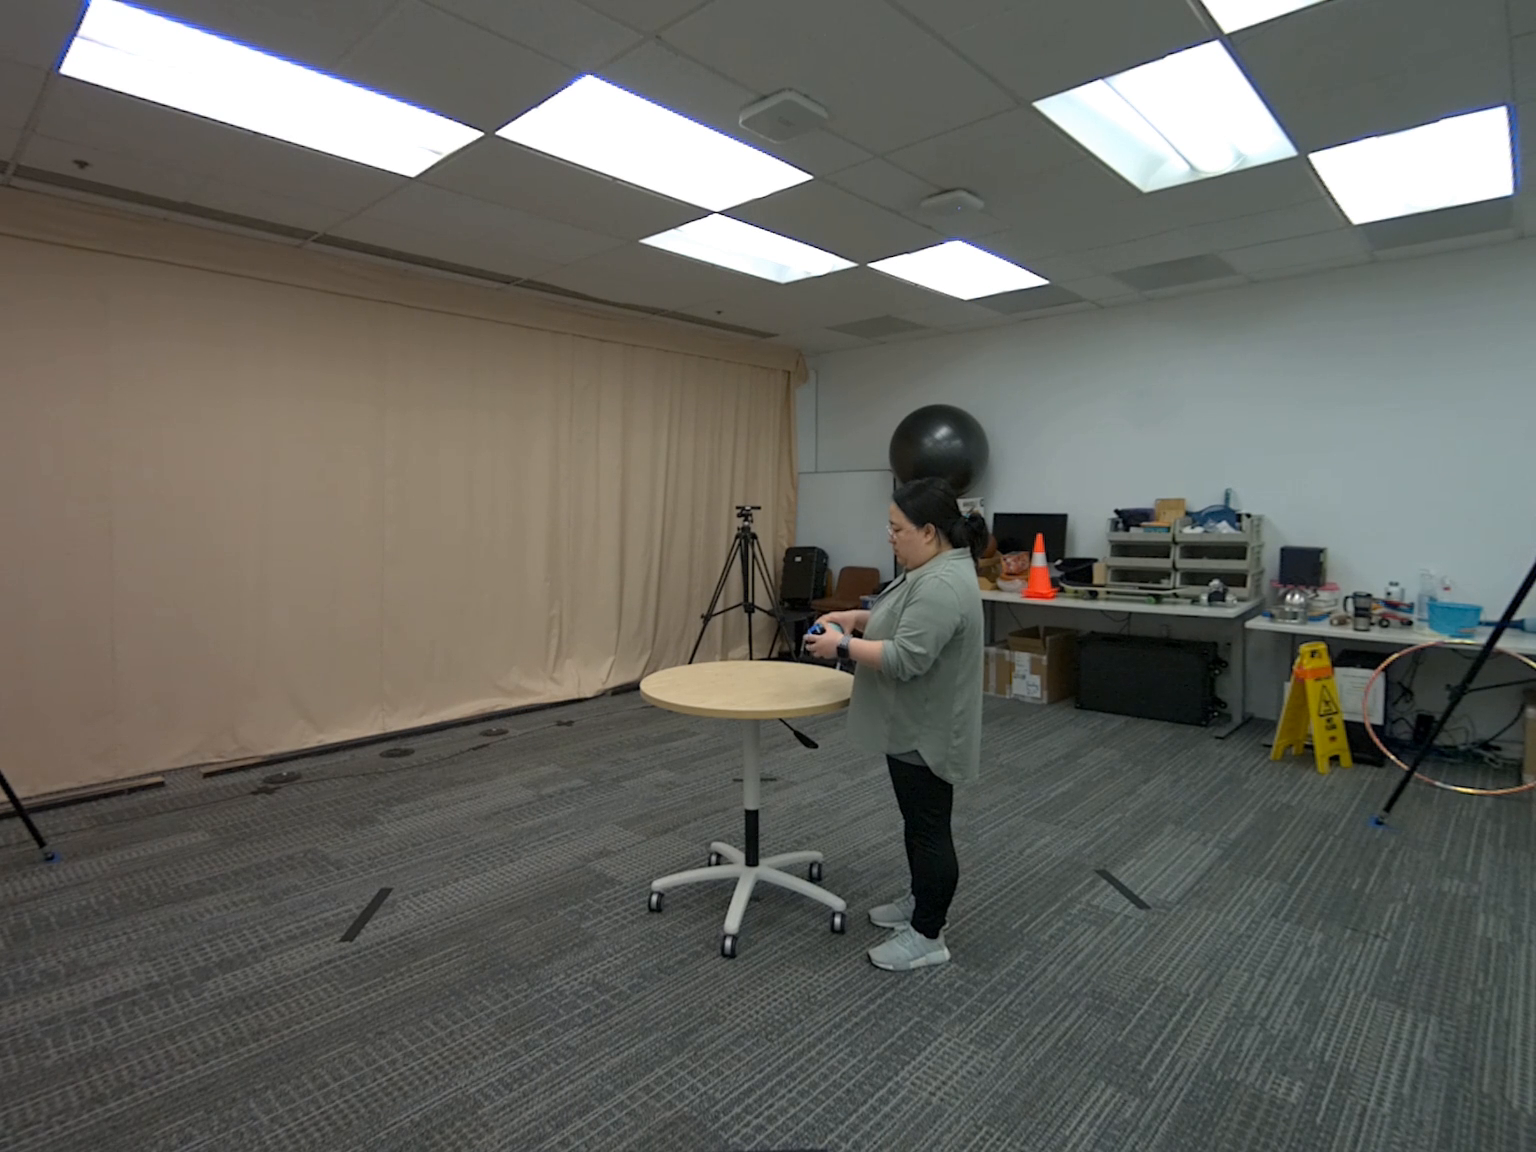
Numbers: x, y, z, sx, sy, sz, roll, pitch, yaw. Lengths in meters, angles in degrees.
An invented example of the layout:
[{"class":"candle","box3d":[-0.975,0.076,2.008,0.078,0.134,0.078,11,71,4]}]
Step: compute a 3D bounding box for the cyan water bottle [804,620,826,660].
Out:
[{"class":"cyan water bottle","box3d":[0.194,0.190,2.687,0.094,0.092,0.279,1,1,12]}]
